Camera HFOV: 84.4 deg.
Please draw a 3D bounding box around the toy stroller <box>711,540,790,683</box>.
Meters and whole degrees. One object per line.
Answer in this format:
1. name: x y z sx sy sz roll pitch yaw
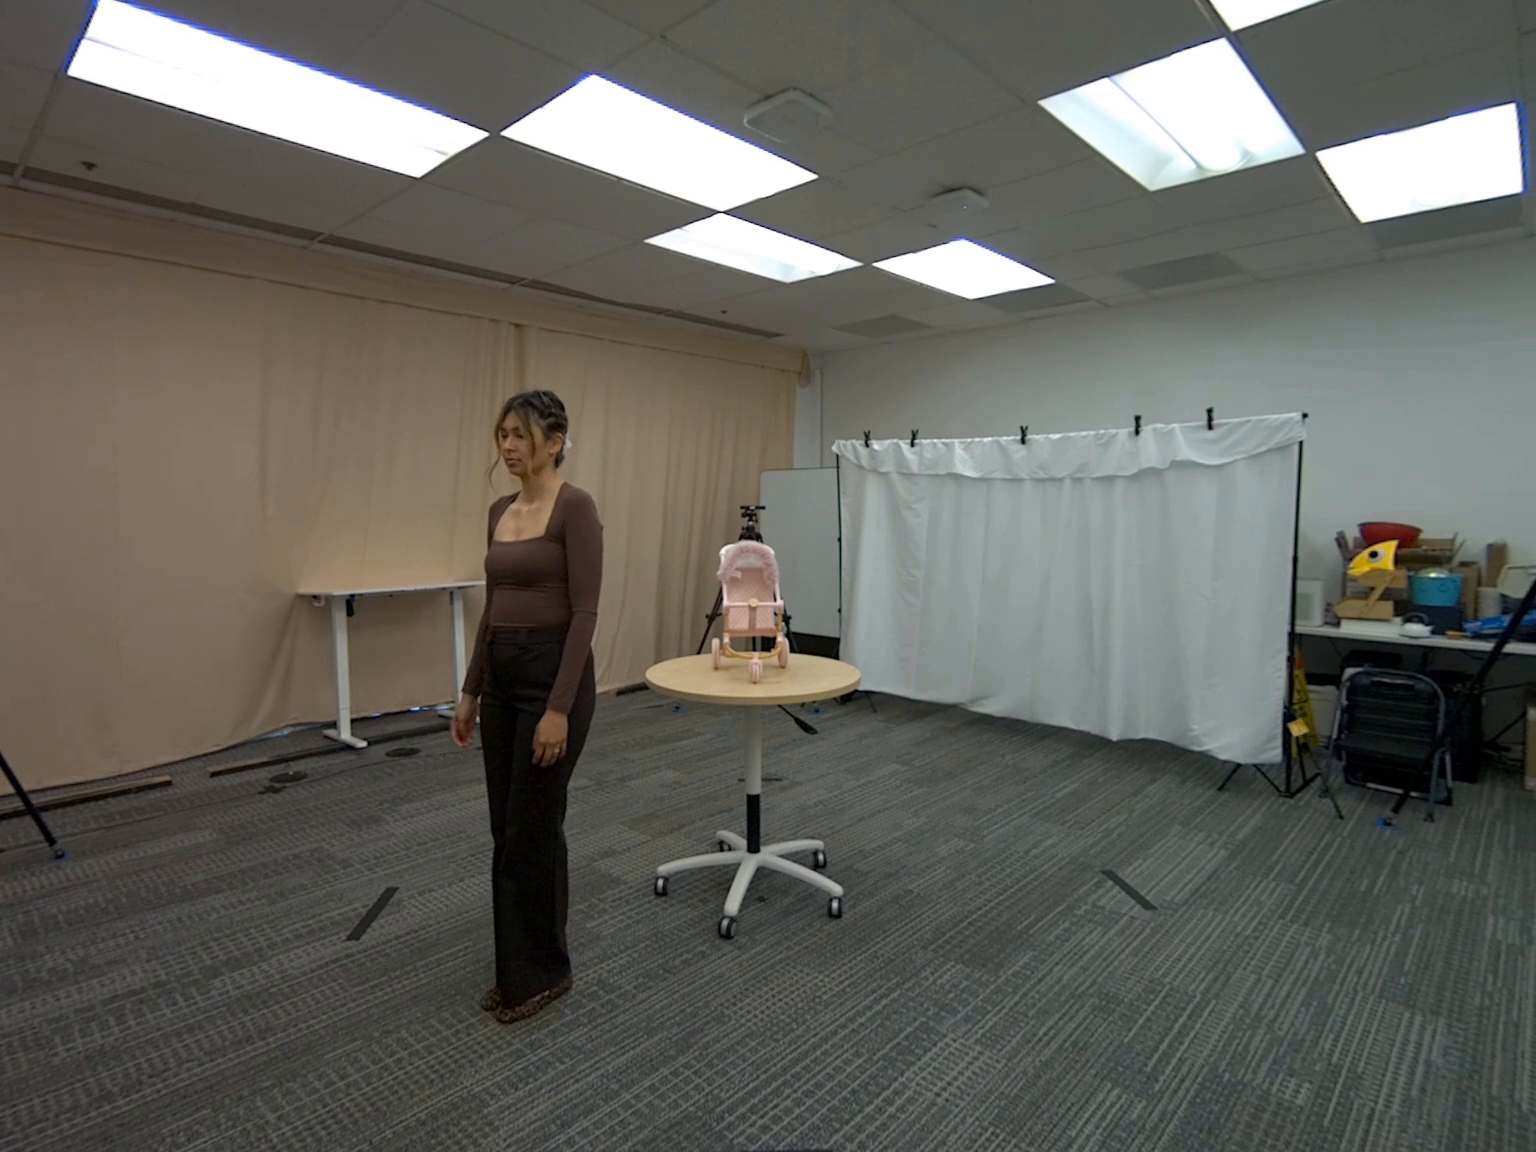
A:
1. toy stroller: -0.060 0.119 3.007 0.281 0.538 0.339 -1 -10 -2
